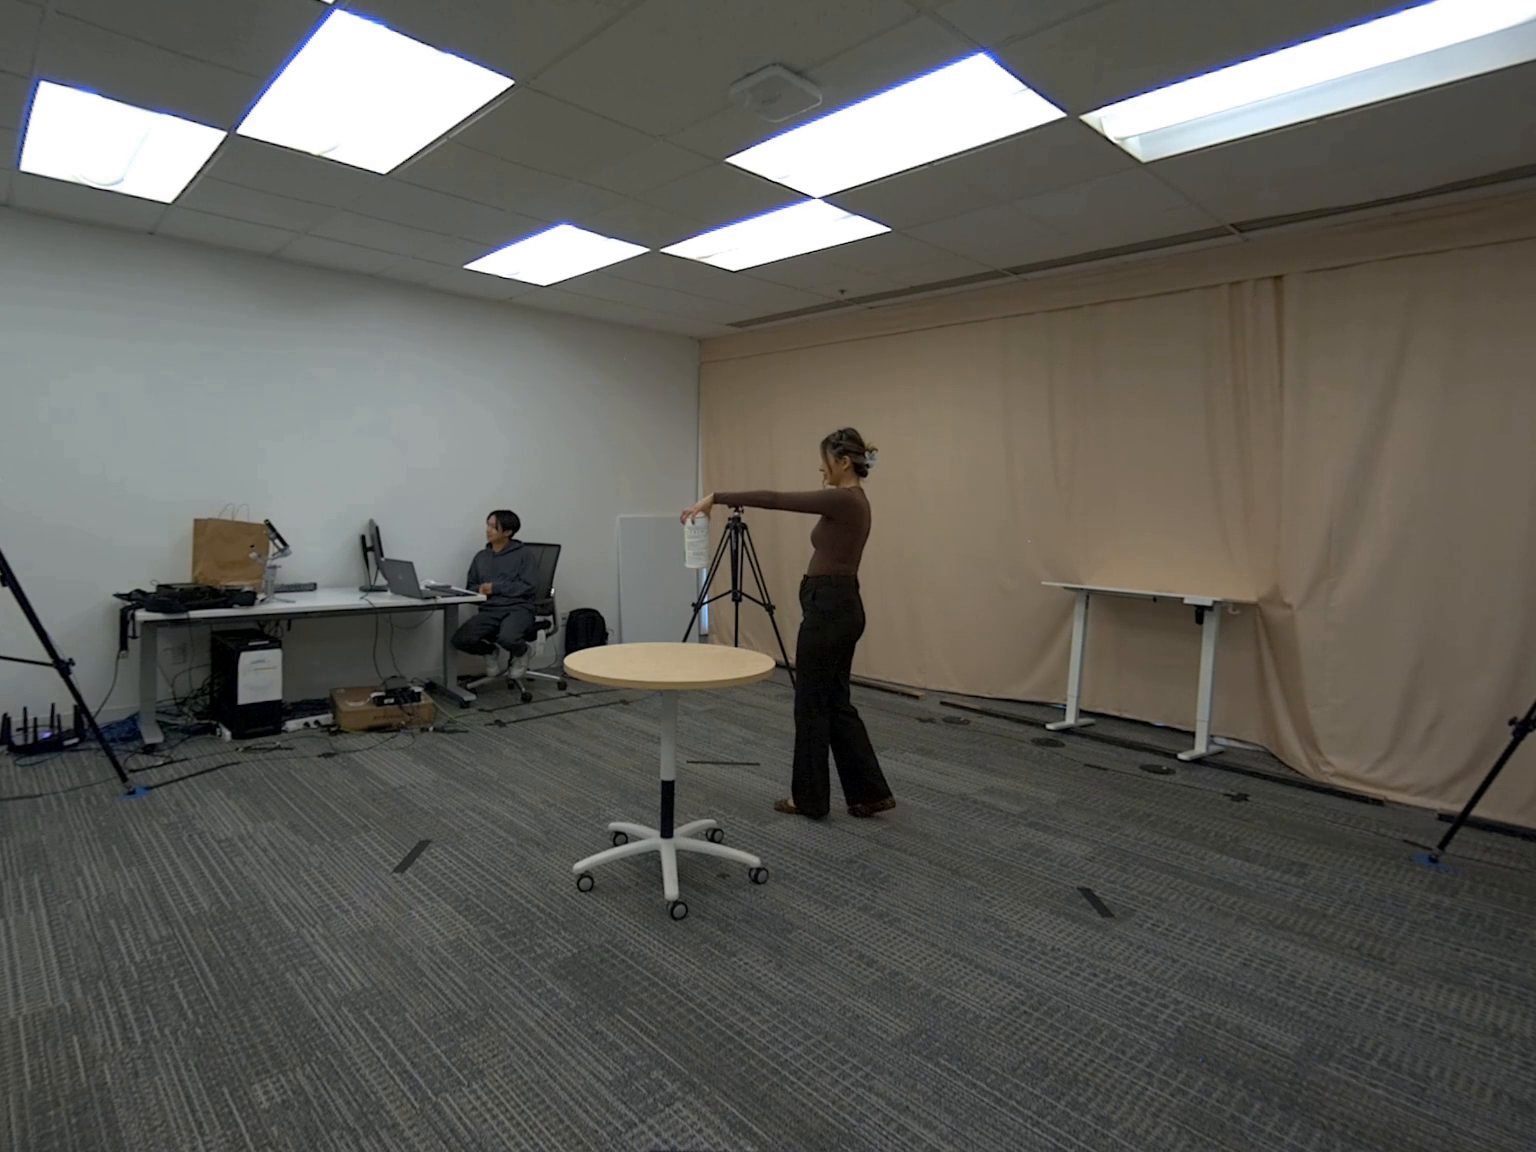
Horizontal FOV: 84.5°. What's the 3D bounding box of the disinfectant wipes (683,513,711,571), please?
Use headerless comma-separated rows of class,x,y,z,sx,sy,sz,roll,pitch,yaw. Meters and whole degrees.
disinfectant wipes,-0.309,-0.142,3.561,0.118,0.216,0.119,-1,10,-1
